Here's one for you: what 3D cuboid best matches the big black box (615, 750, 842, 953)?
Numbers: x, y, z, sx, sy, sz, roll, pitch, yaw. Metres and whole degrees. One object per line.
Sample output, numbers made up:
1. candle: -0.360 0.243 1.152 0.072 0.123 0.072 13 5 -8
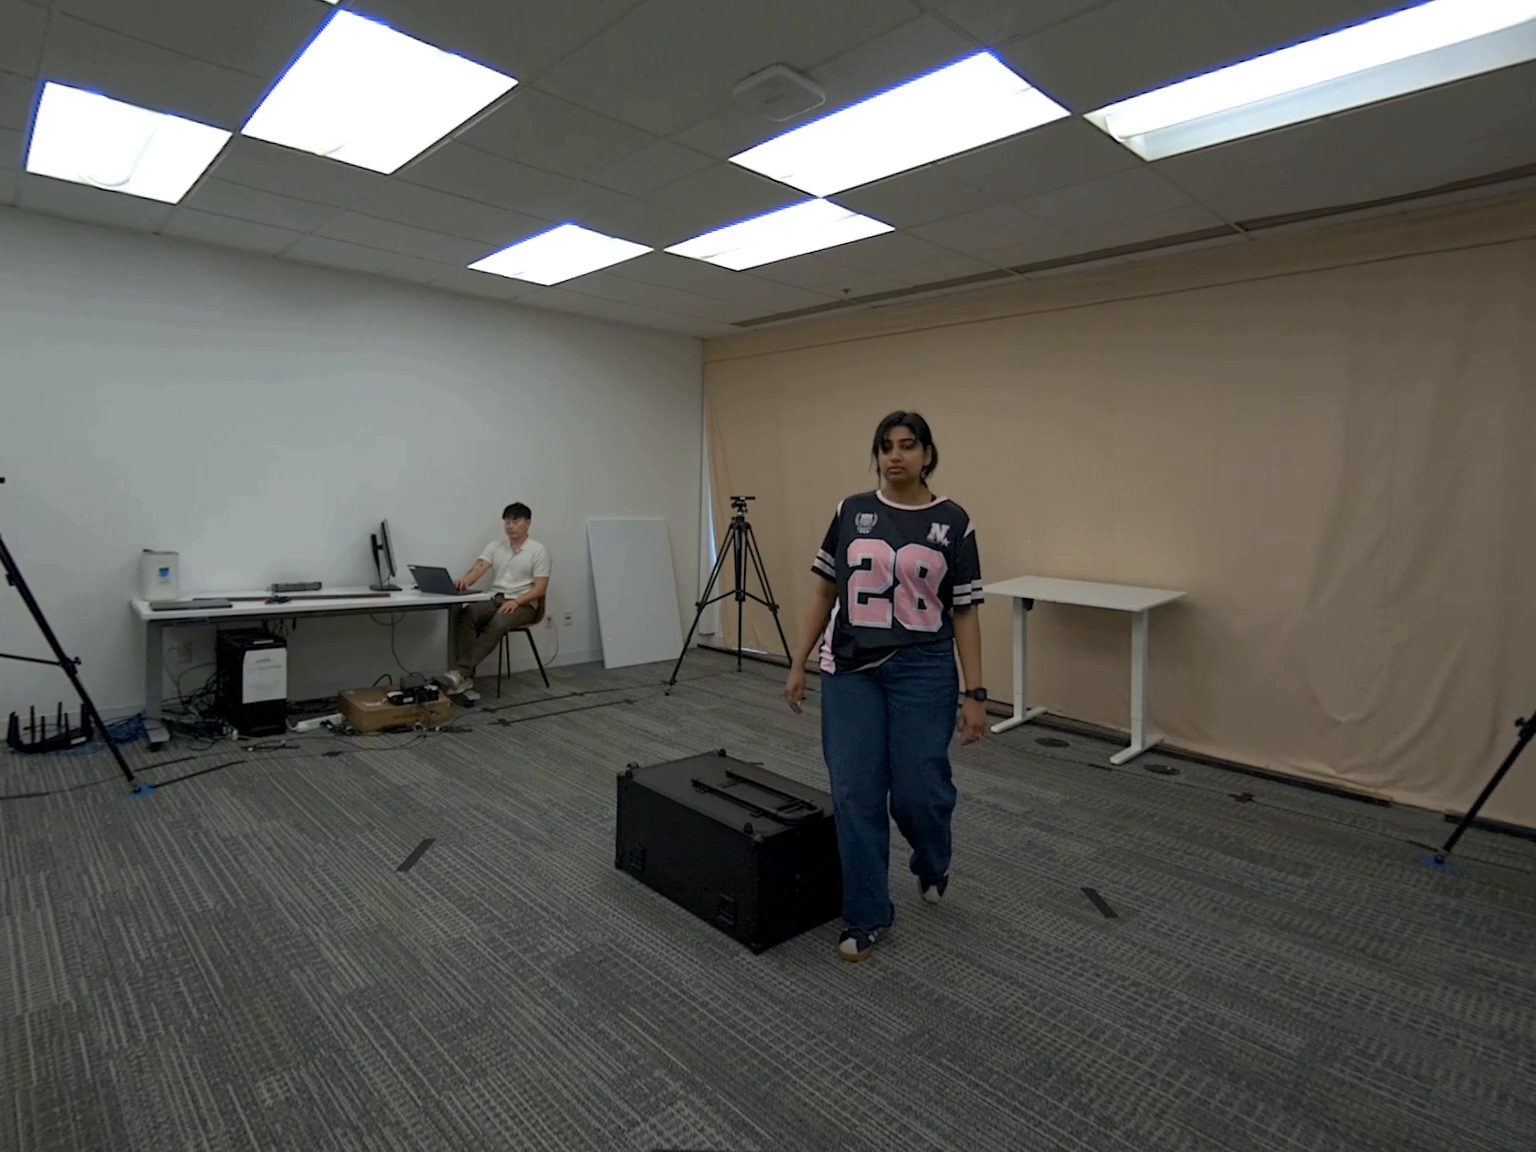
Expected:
1. big black box: -0.164 0.928 3.024 0.512 0.384 0.891 -4 7 -42
